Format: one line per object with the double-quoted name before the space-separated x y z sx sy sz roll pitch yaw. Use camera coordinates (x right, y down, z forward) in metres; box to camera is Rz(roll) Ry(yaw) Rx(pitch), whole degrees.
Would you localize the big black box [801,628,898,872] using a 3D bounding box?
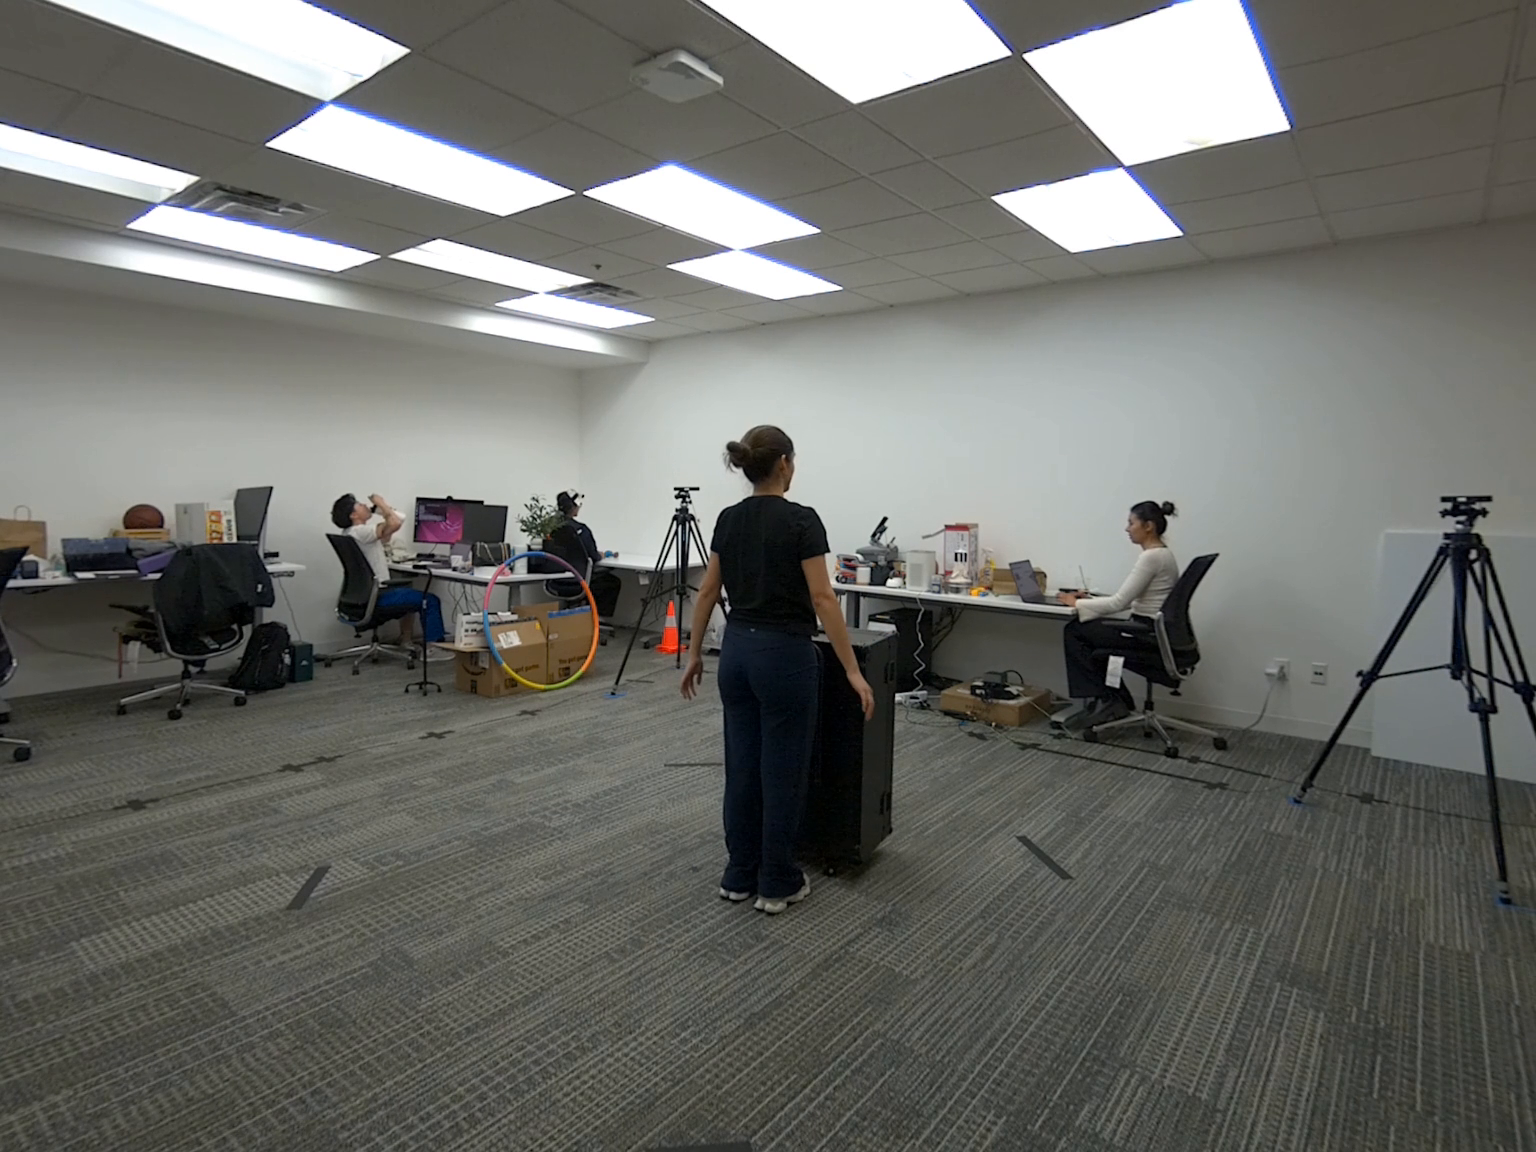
"big black box" 0.207 0.583 3.243 0.536 0.859 0.386 4 4 29
